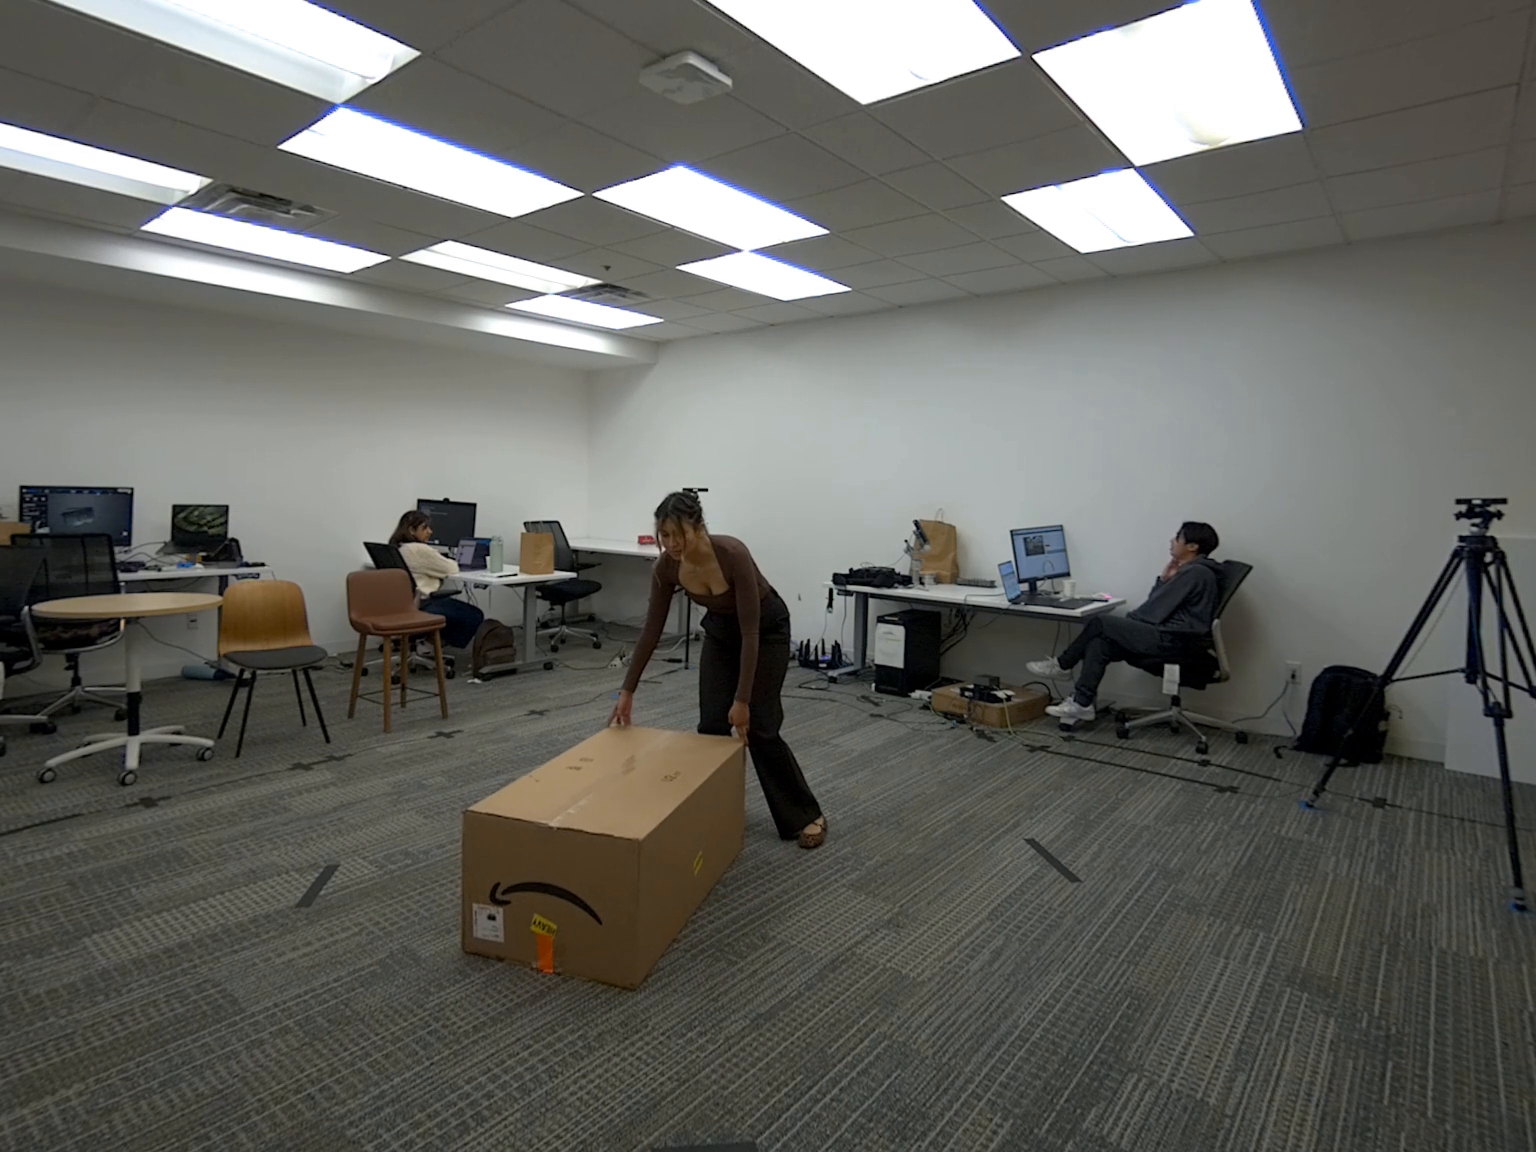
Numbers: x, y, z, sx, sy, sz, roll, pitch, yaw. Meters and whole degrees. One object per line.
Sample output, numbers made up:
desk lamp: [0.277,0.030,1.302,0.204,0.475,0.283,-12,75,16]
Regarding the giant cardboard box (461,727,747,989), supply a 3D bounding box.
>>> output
giant cardboard box: [-0.506,0.874,2.889,0.595,0.445,1.012,4,6,16]
